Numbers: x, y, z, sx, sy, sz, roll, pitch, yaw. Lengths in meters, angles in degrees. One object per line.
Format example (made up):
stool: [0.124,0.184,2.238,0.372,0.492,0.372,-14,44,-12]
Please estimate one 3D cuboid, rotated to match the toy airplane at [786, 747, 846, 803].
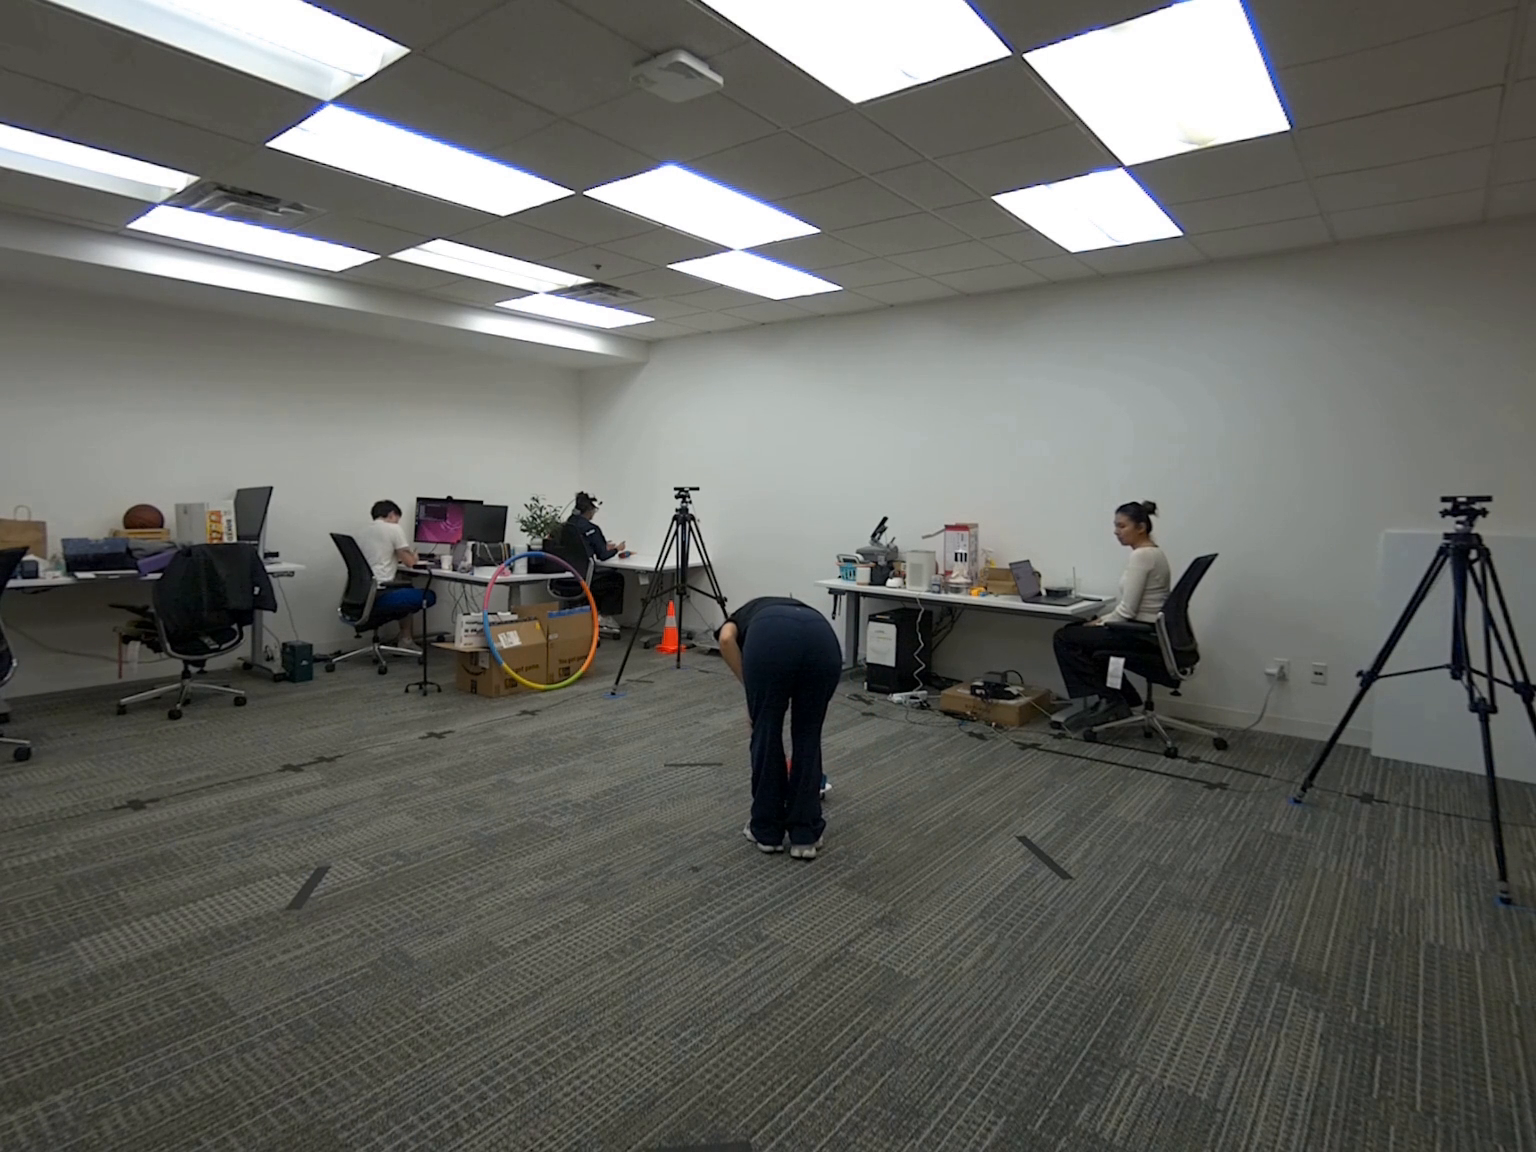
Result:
toy airplane: [0.209,0.912,3.899,0.263,0.155,0.248,0,6,15]
